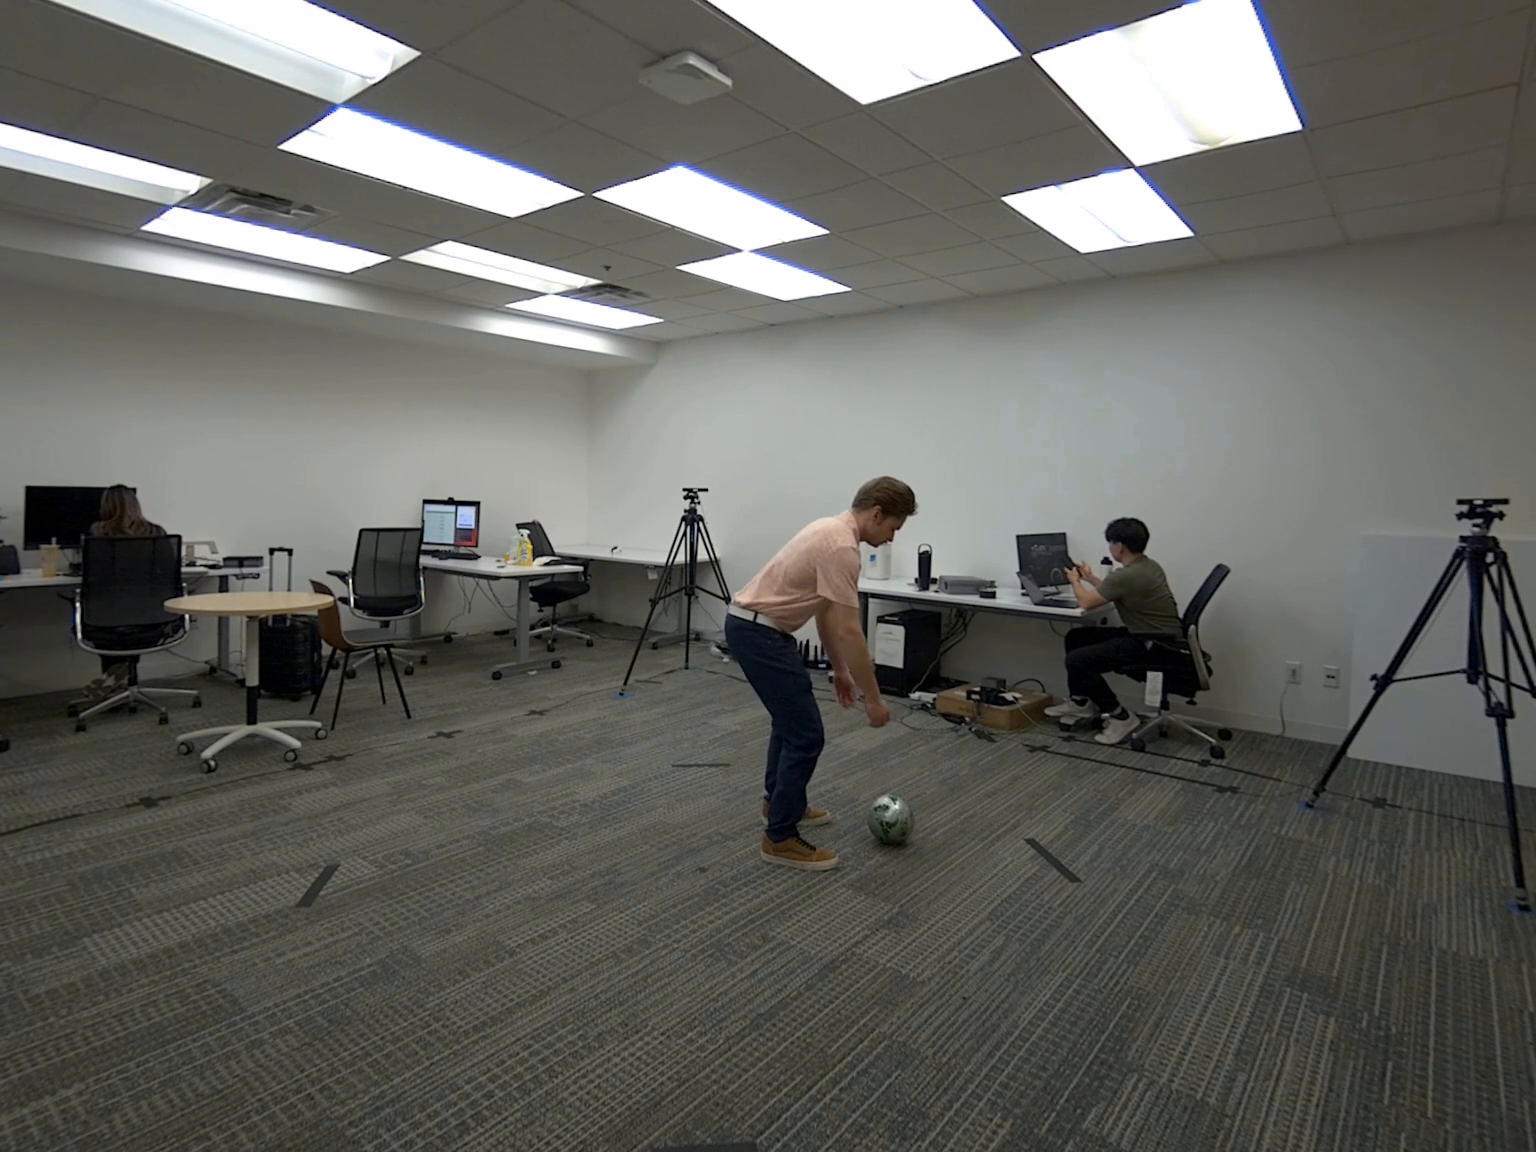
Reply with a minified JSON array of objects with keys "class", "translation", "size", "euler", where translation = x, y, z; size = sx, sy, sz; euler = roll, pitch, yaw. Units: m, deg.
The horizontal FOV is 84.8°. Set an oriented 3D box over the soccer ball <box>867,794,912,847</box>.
[{"class":"soccer ball","translation":[0.477,0.965,3.388],"size":[0.187,0.187,0.188],"euler":[1,4,-2]}]
